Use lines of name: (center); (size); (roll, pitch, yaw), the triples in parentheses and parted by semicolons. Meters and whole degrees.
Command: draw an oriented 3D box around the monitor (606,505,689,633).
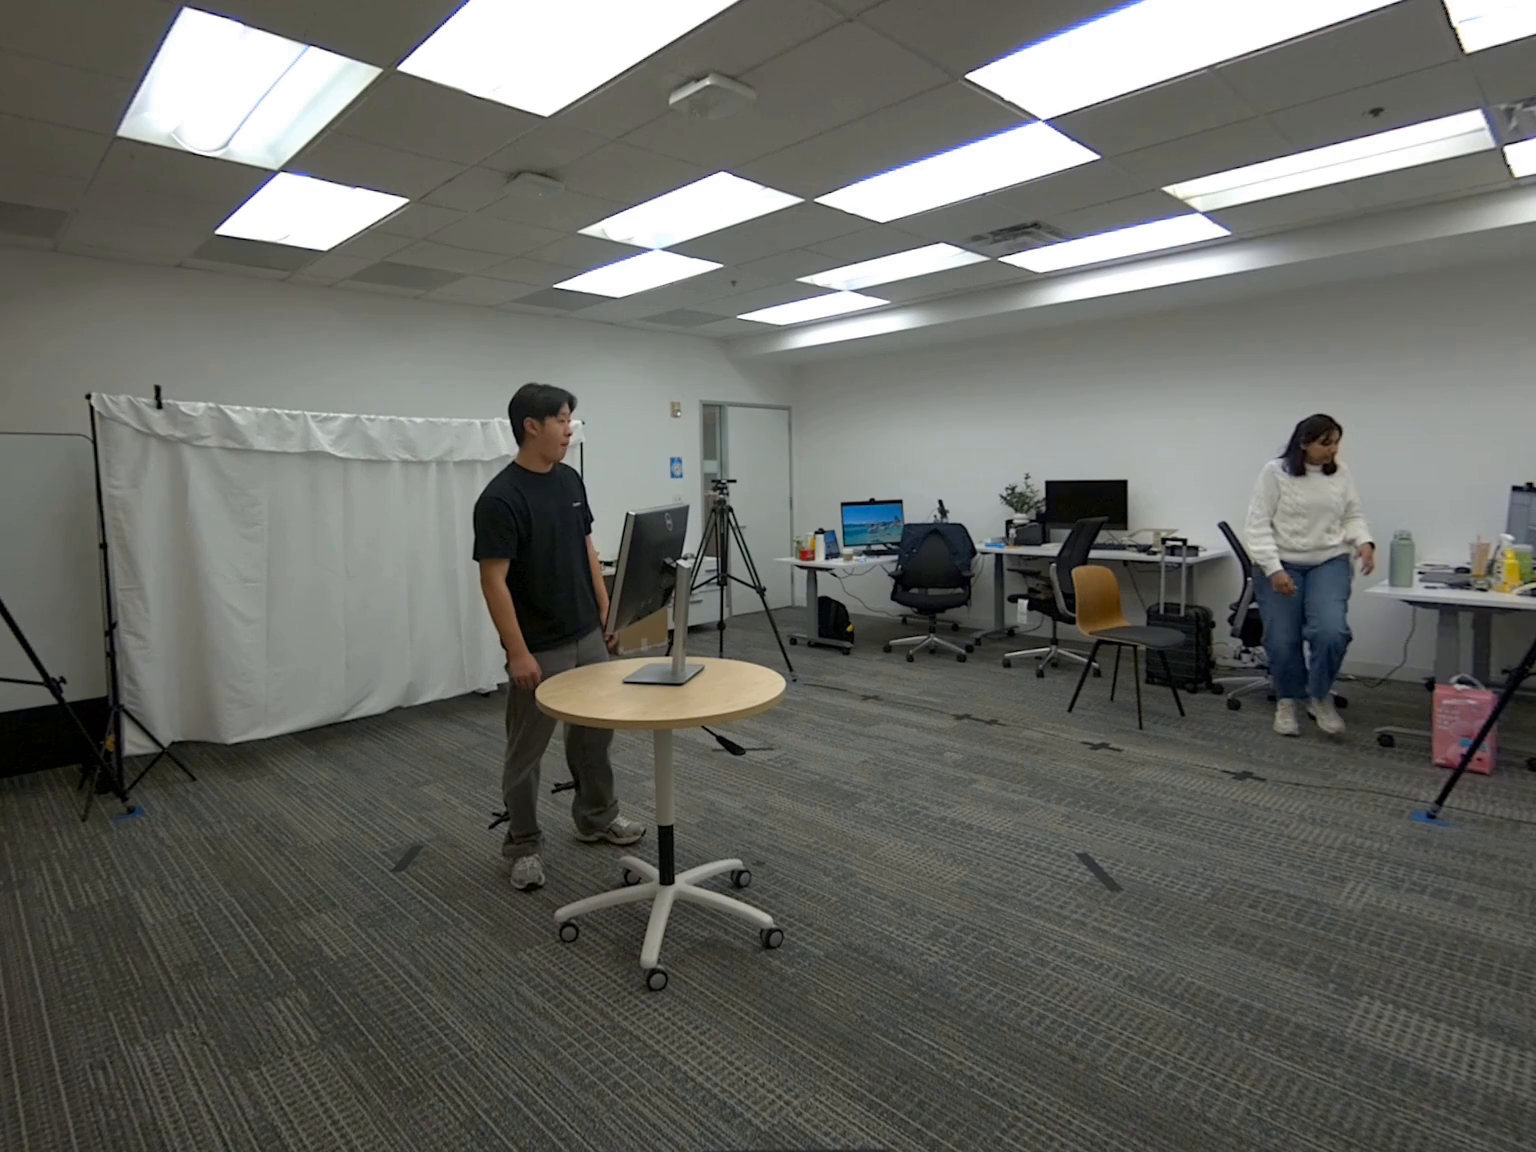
monitor: (-0.344, 0.064, 2.710); (0.226, 0.564, 0.555); (-2, 5, 16)
